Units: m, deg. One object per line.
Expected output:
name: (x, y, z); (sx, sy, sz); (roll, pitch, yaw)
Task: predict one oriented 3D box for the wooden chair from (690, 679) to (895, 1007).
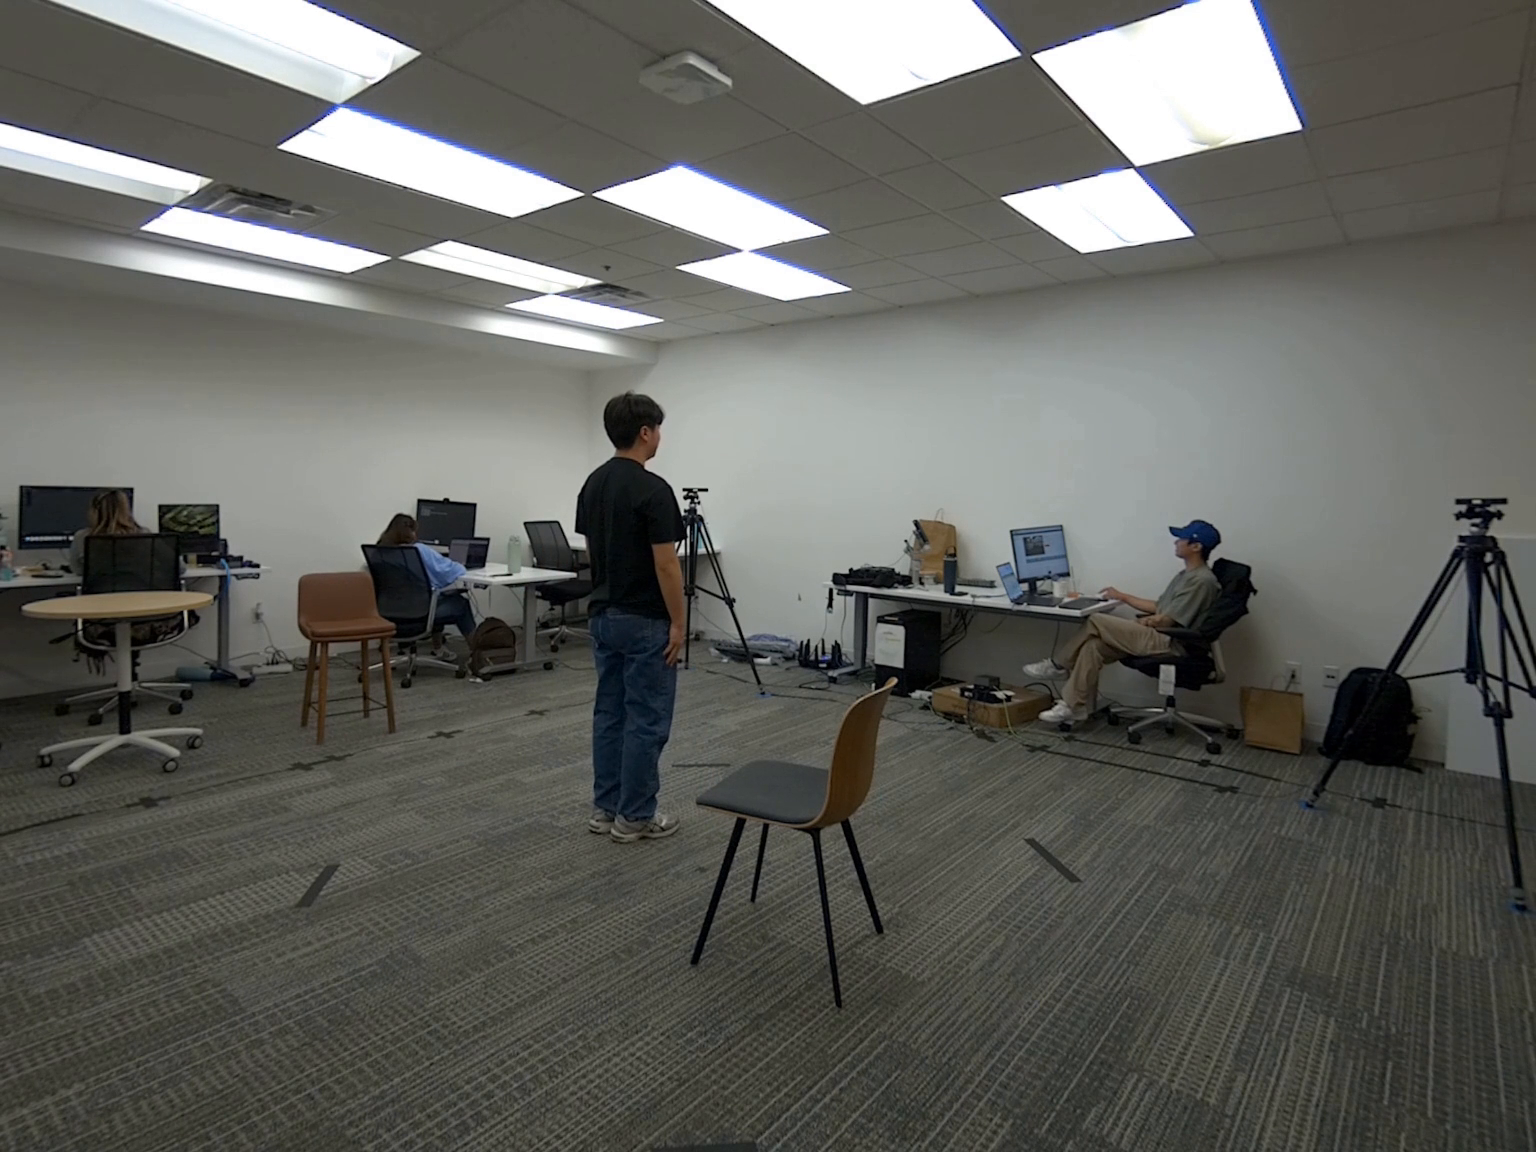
wooden chair: (0.067, 0.701, 2.563); (0.537, 0.874, 0.467); (8, 6, 24)
